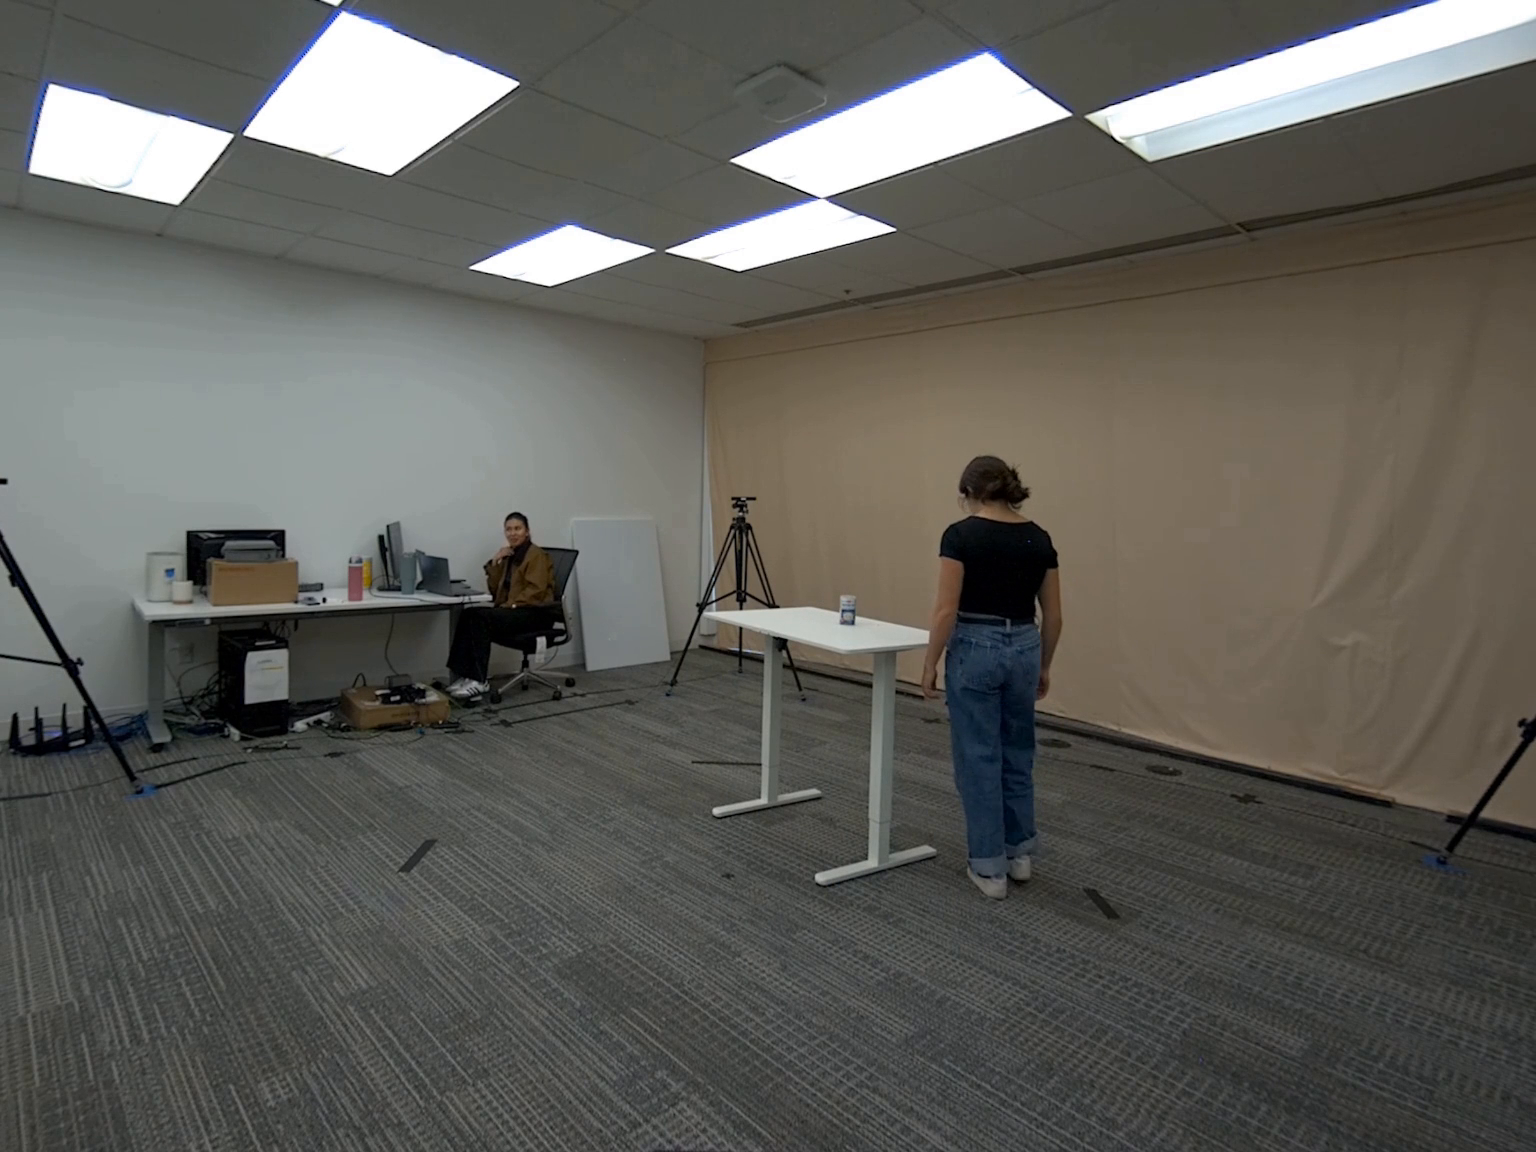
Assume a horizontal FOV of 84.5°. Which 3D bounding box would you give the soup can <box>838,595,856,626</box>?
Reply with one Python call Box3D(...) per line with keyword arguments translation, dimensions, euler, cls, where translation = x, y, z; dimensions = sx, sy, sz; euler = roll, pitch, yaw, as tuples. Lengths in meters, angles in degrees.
Box3D(translation=(0.323, 0.141, 3.509), dimensions=(0.067, 0.121, 0.067), euler=(0, 4, -1), cls="soup can")
